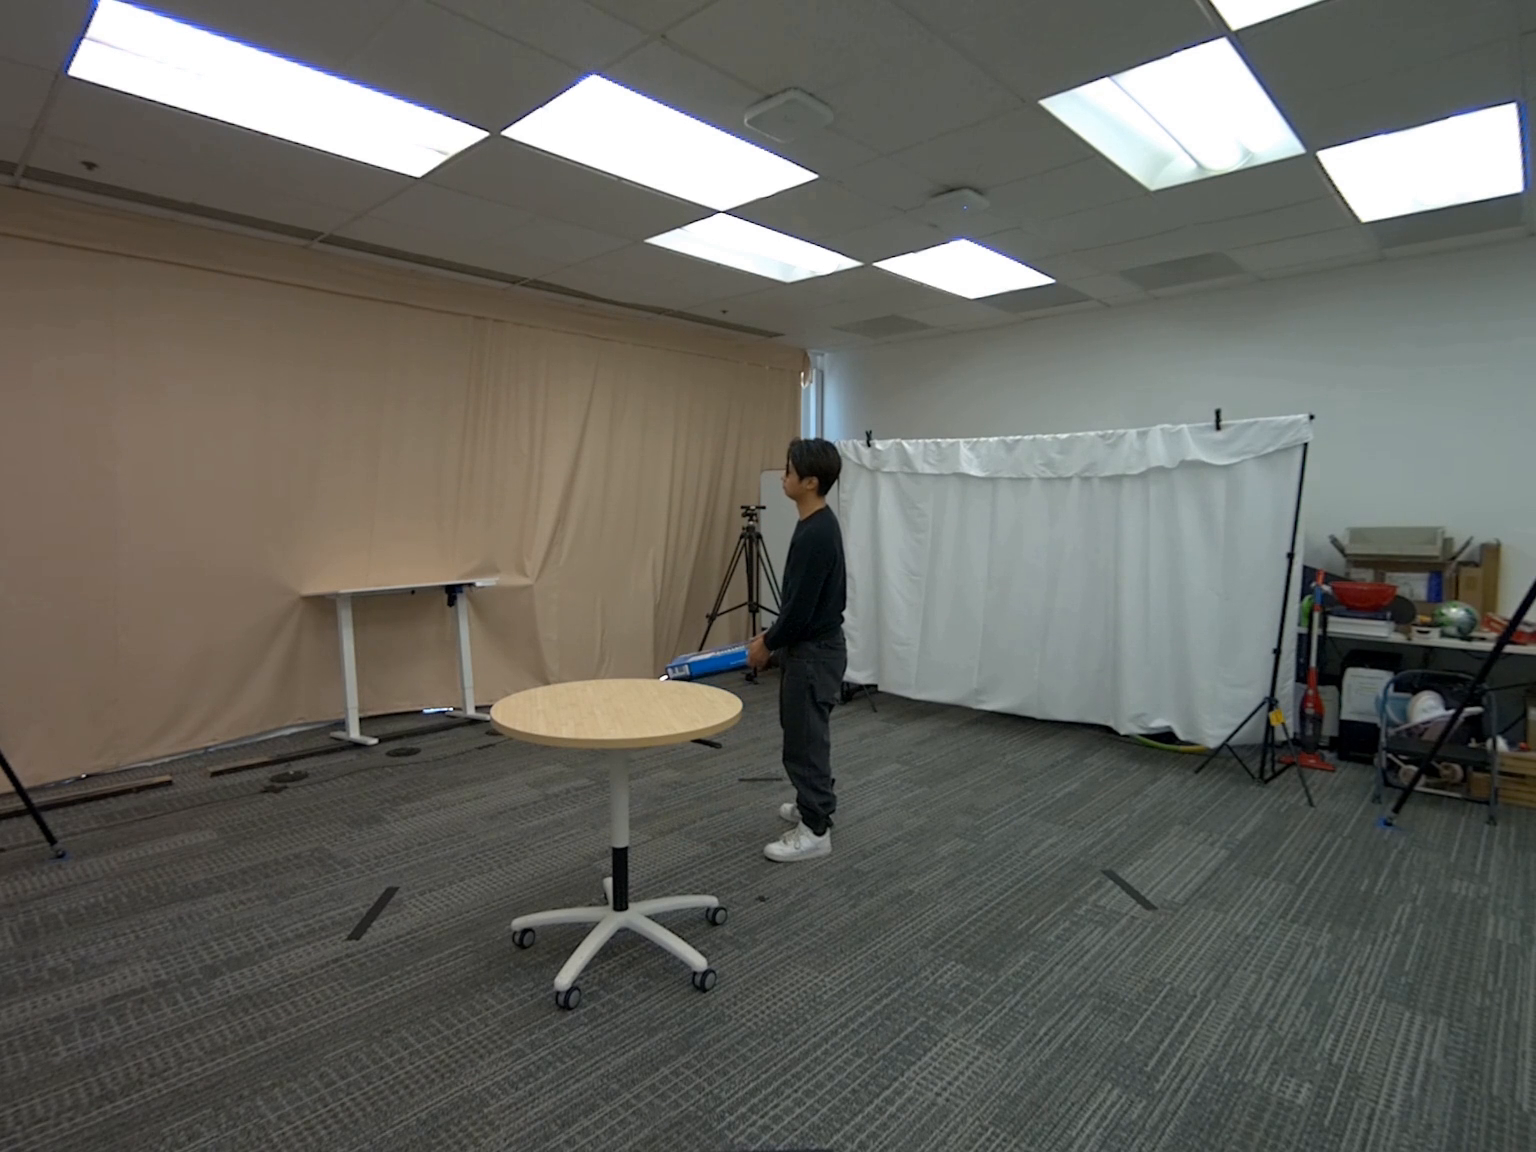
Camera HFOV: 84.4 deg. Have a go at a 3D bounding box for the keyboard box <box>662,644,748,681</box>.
[{"bbox_3d":[-0.197,0.341,3.489,0.442,0.059,0.174,-13,5,12],"label":"keyboard box"}]
